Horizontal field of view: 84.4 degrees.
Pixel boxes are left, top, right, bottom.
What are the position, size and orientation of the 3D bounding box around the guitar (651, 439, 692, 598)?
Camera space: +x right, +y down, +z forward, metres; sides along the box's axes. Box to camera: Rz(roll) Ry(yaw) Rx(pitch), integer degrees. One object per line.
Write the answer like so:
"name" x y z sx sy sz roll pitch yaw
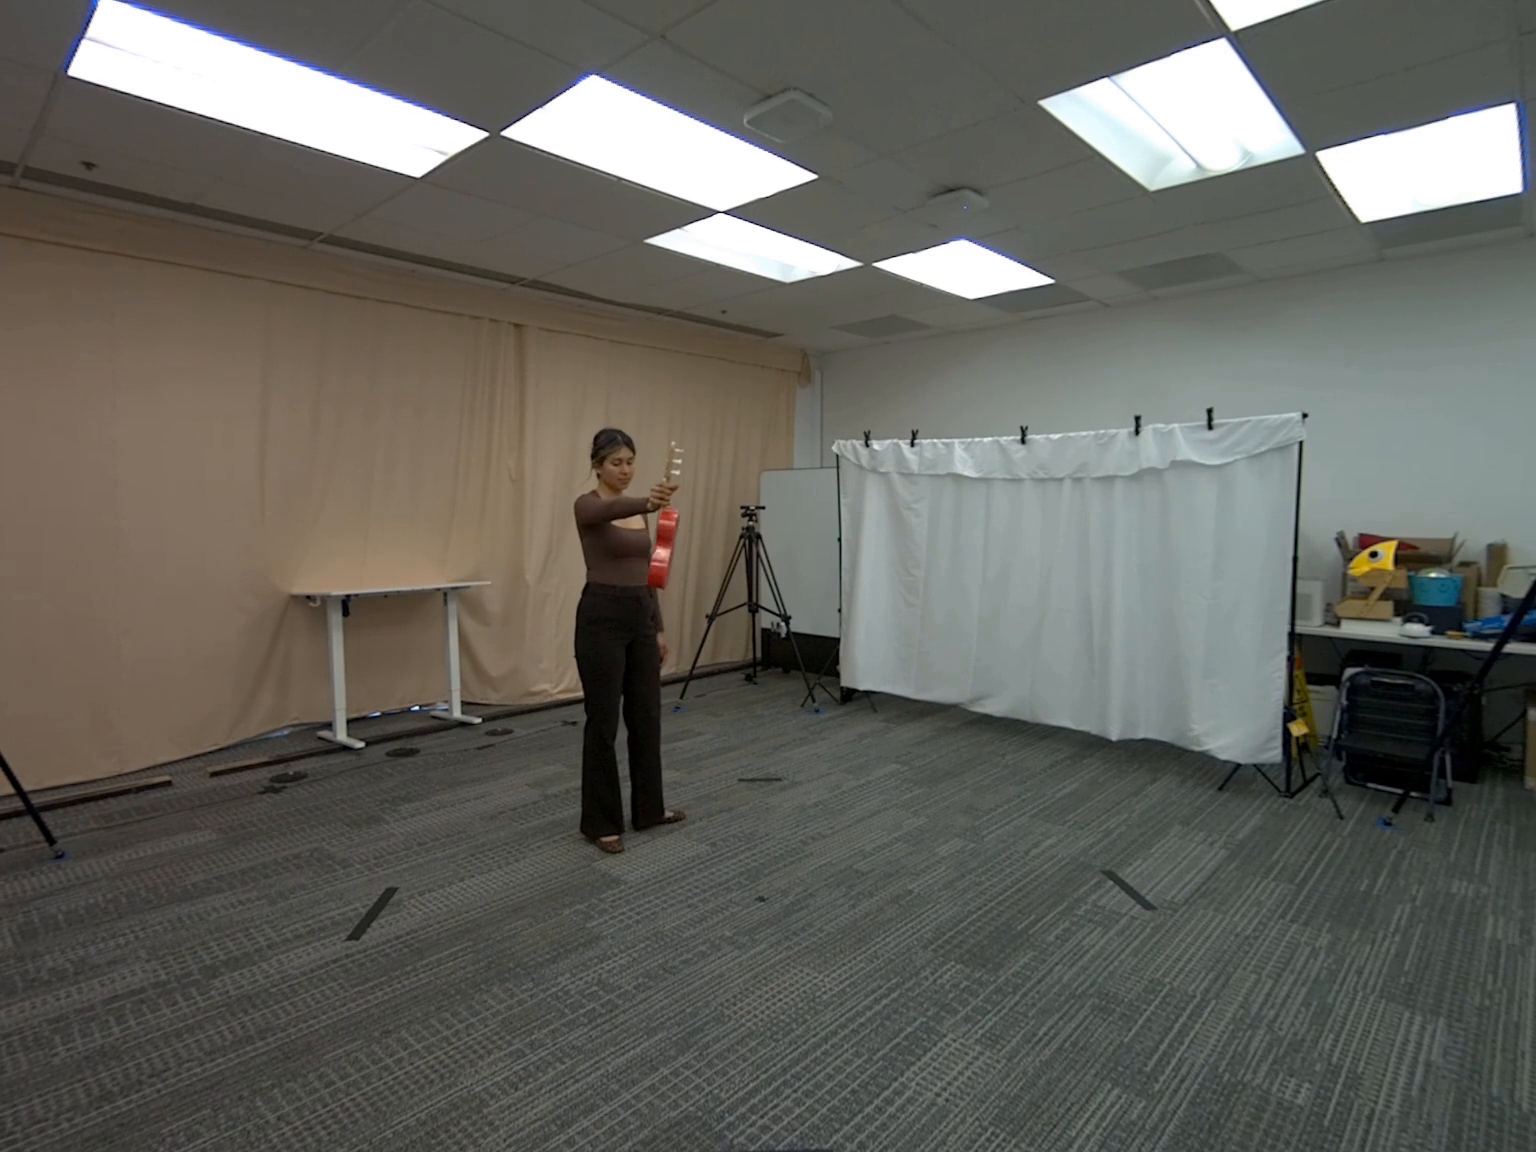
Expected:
"guitar" -0.343 -0.198 2.860 0.071 0.494 0.194 10 17 -1
